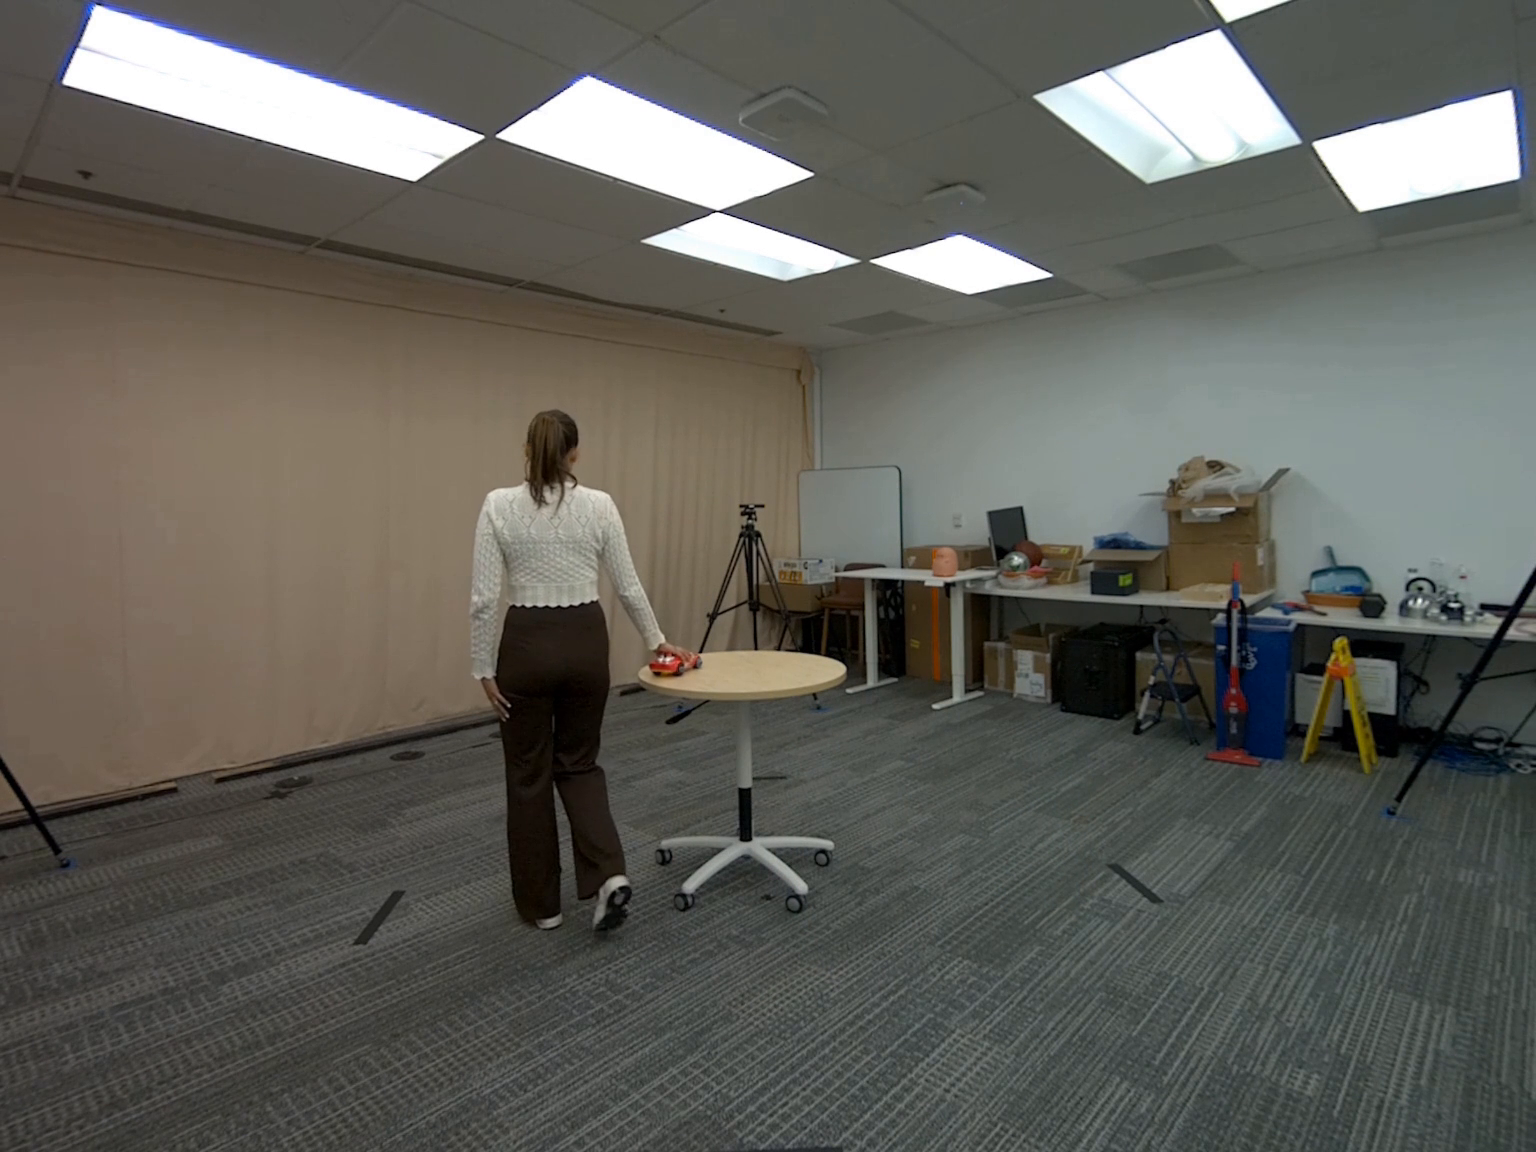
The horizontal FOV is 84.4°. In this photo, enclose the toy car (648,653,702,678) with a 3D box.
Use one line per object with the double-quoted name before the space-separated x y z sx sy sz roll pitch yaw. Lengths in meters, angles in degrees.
"toy car" -0.343 0.324 3.087 0.133 0.083 0.248 0 -6 23
